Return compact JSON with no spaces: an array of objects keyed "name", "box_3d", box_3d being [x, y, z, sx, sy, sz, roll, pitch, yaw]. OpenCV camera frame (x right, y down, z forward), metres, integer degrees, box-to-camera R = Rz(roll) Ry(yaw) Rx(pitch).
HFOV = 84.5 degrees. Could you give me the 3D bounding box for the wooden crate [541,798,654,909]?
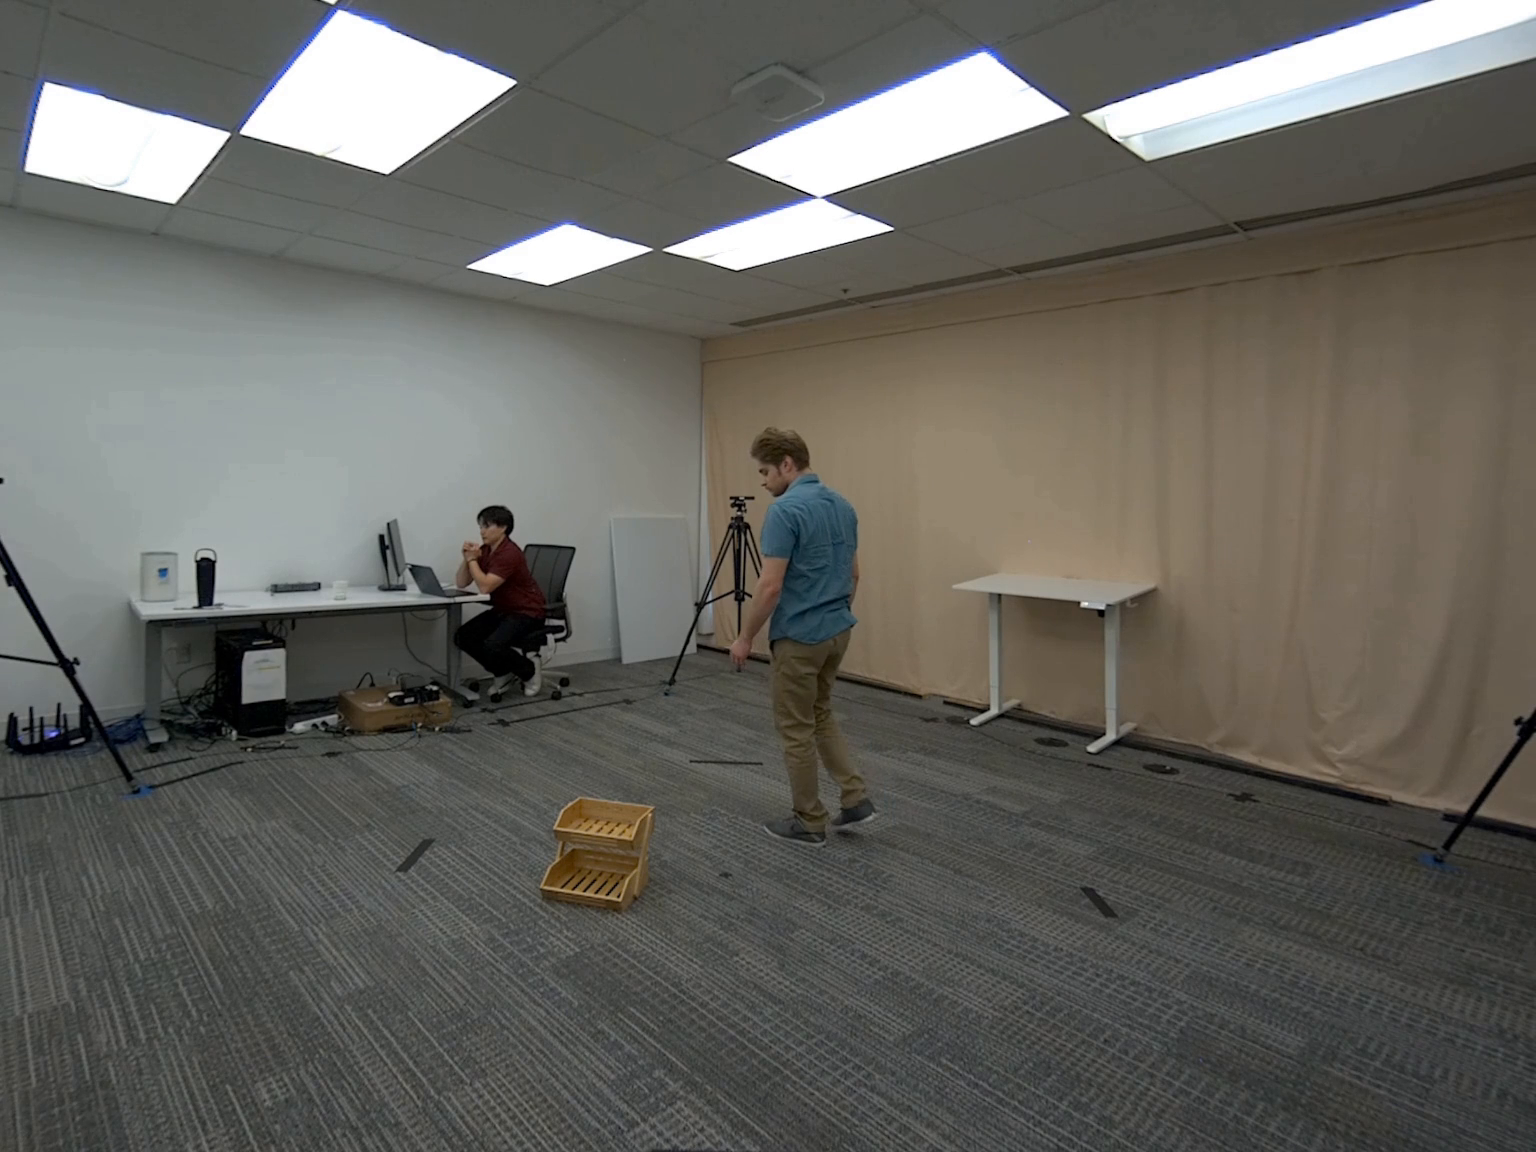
[{"name":"wooden crate","box_3d":[-0.605,0.976,2.962,0.328,0.272,0.299,3,4,14]}]
